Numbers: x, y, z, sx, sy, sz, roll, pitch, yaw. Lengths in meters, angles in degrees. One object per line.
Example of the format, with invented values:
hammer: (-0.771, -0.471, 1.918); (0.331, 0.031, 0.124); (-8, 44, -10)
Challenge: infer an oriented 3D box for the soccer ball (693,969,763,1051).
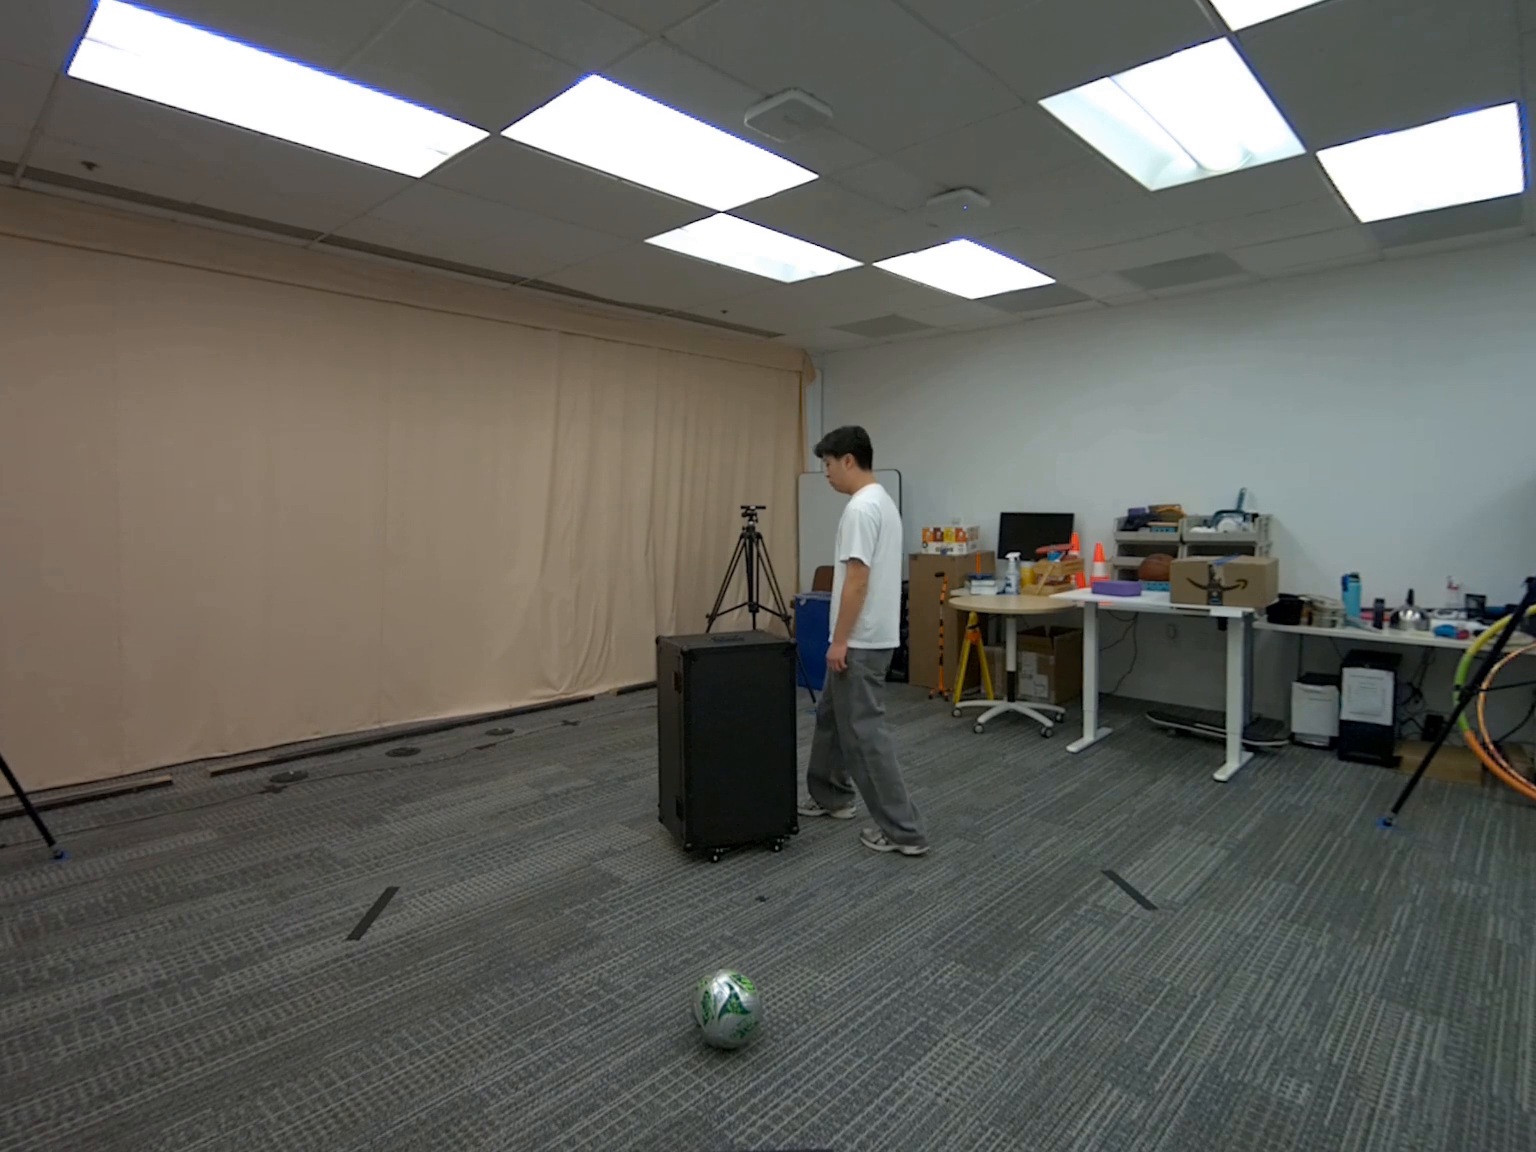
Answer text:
soccer ball: (-0.105, 1.113, 2.183); (0.187, 0.187, 0.188); (0, 4, -2)
